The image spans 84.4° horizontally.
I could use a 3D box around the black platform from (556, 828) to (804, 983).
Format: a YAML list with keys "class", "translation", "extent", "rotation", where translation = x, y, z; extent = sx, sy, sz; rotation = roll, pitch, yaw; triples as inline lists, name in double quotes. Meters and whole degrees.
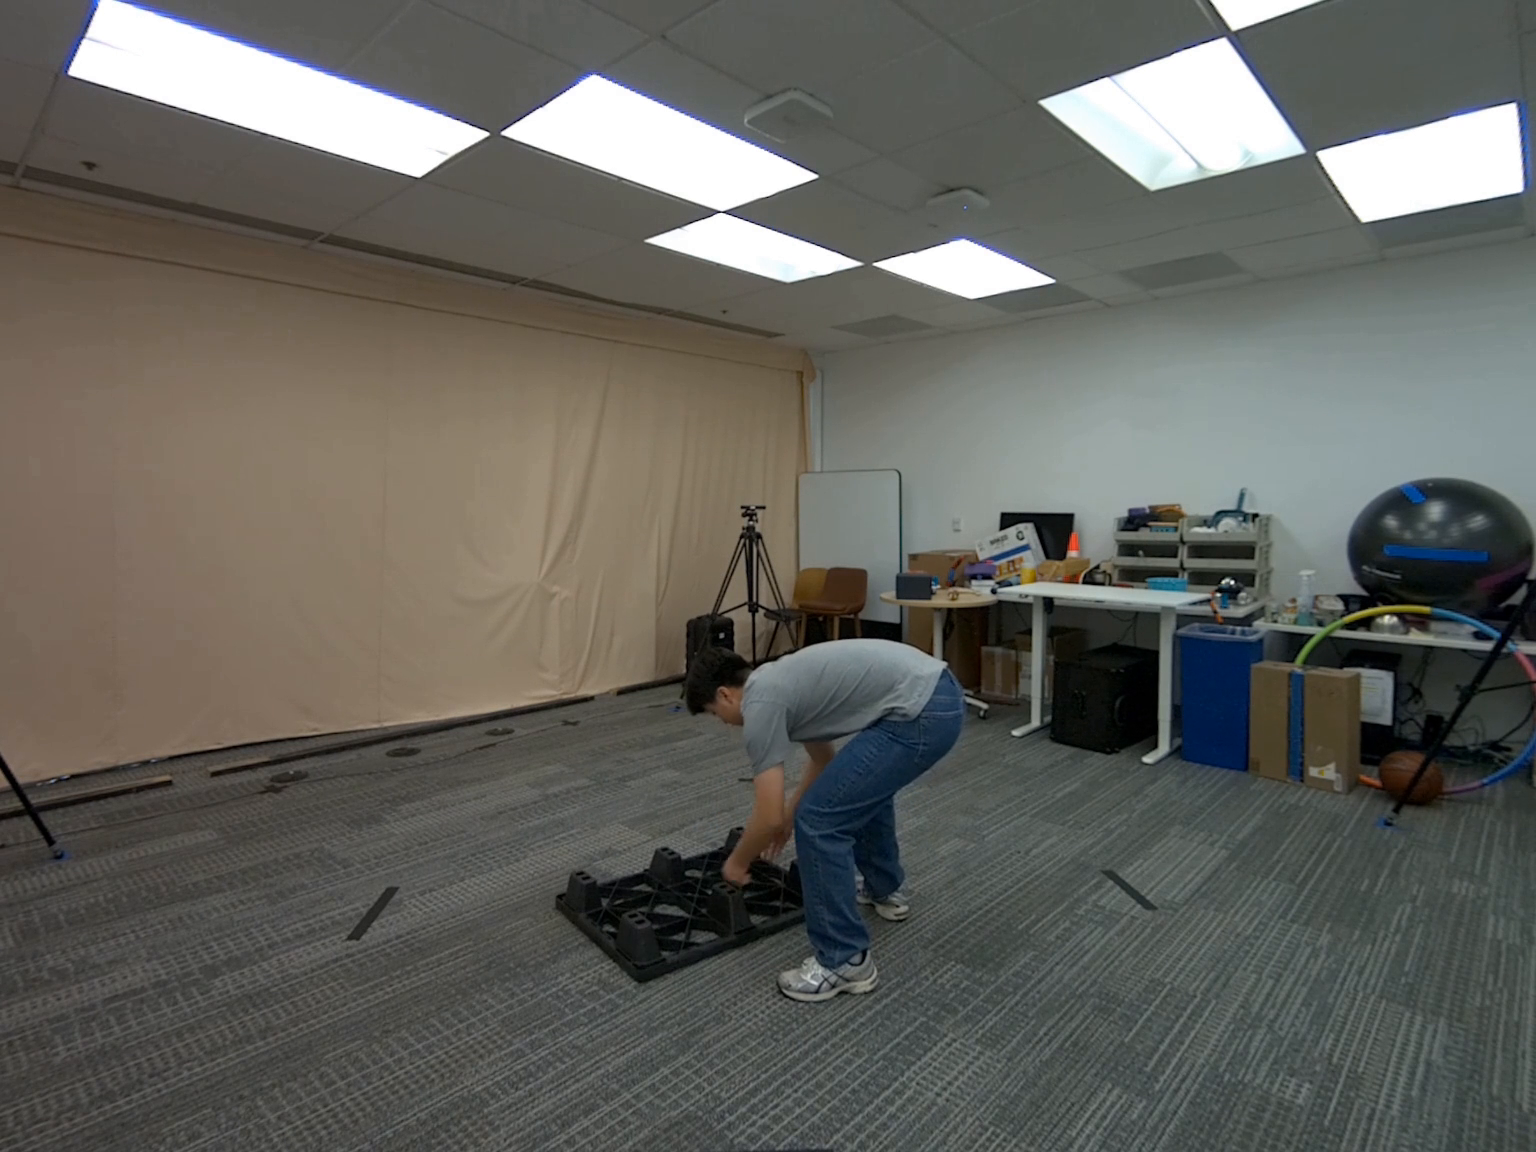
- class: "black platform"
  translation: [-0.247, 1.085, 2.920]
  extent: [0.782, 0.143, 0.625]
  rotation: [-3, 7, -37]
